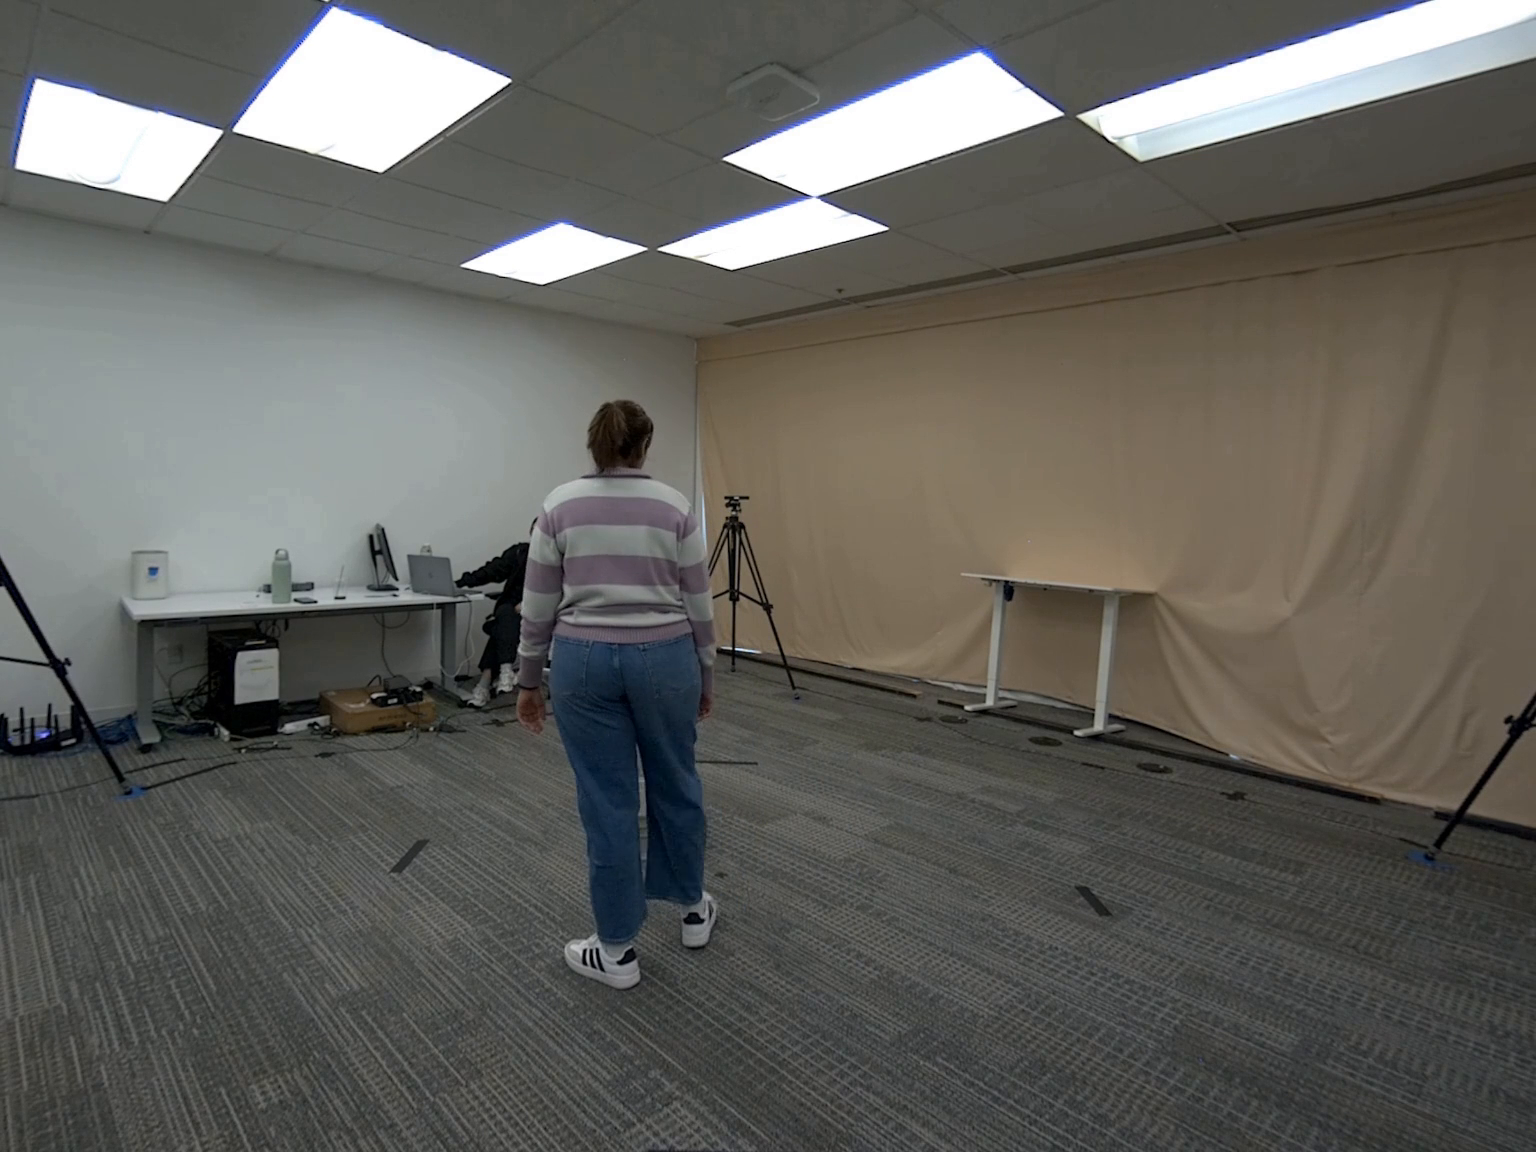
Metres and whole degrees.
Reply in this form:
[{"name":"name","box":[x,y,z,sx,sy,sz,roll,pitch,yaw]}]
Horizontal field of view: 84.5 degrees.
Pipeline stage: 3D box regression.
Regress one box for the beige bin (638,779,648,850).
[{"name":"beige bin","box":[-0.497,0.981,3.416,0.374,0.188,0.427,1,4,-12]}]
